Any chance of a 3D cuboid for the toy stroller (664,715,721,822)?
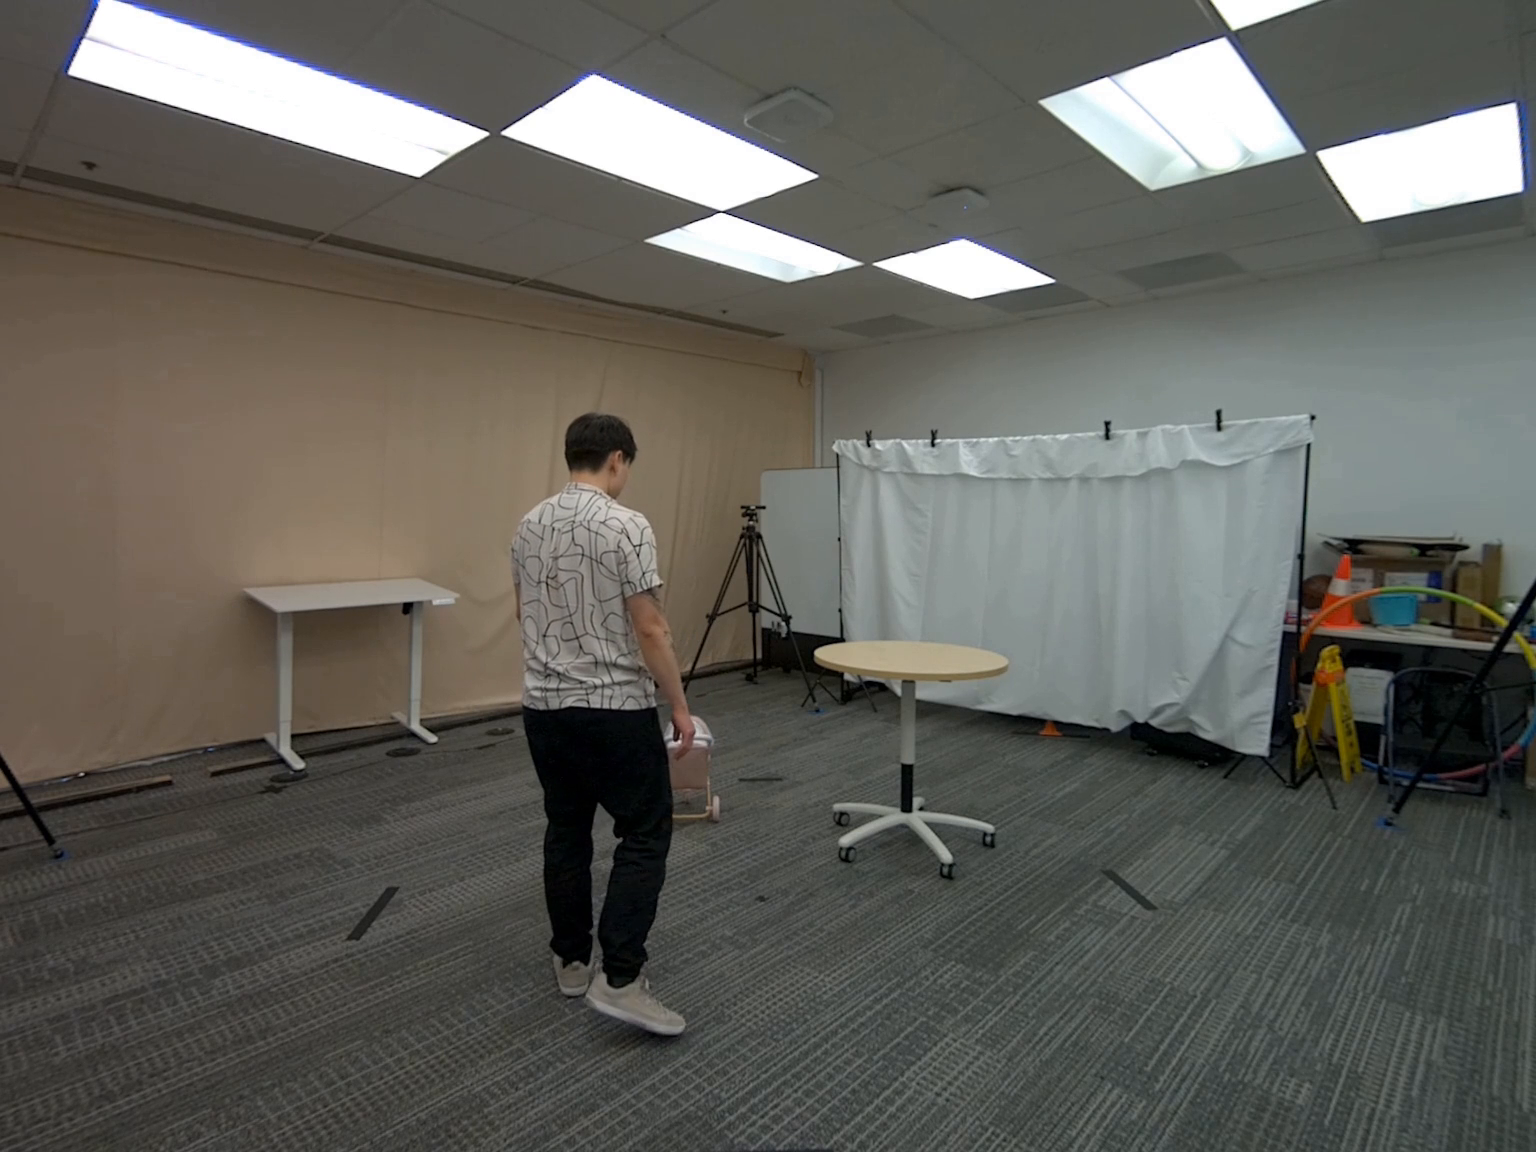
[{"bbox_3d":[-0.358,0.864,3.786,0.282,0.529,0.345,0,18,0],"label":"toy stroller"}]
